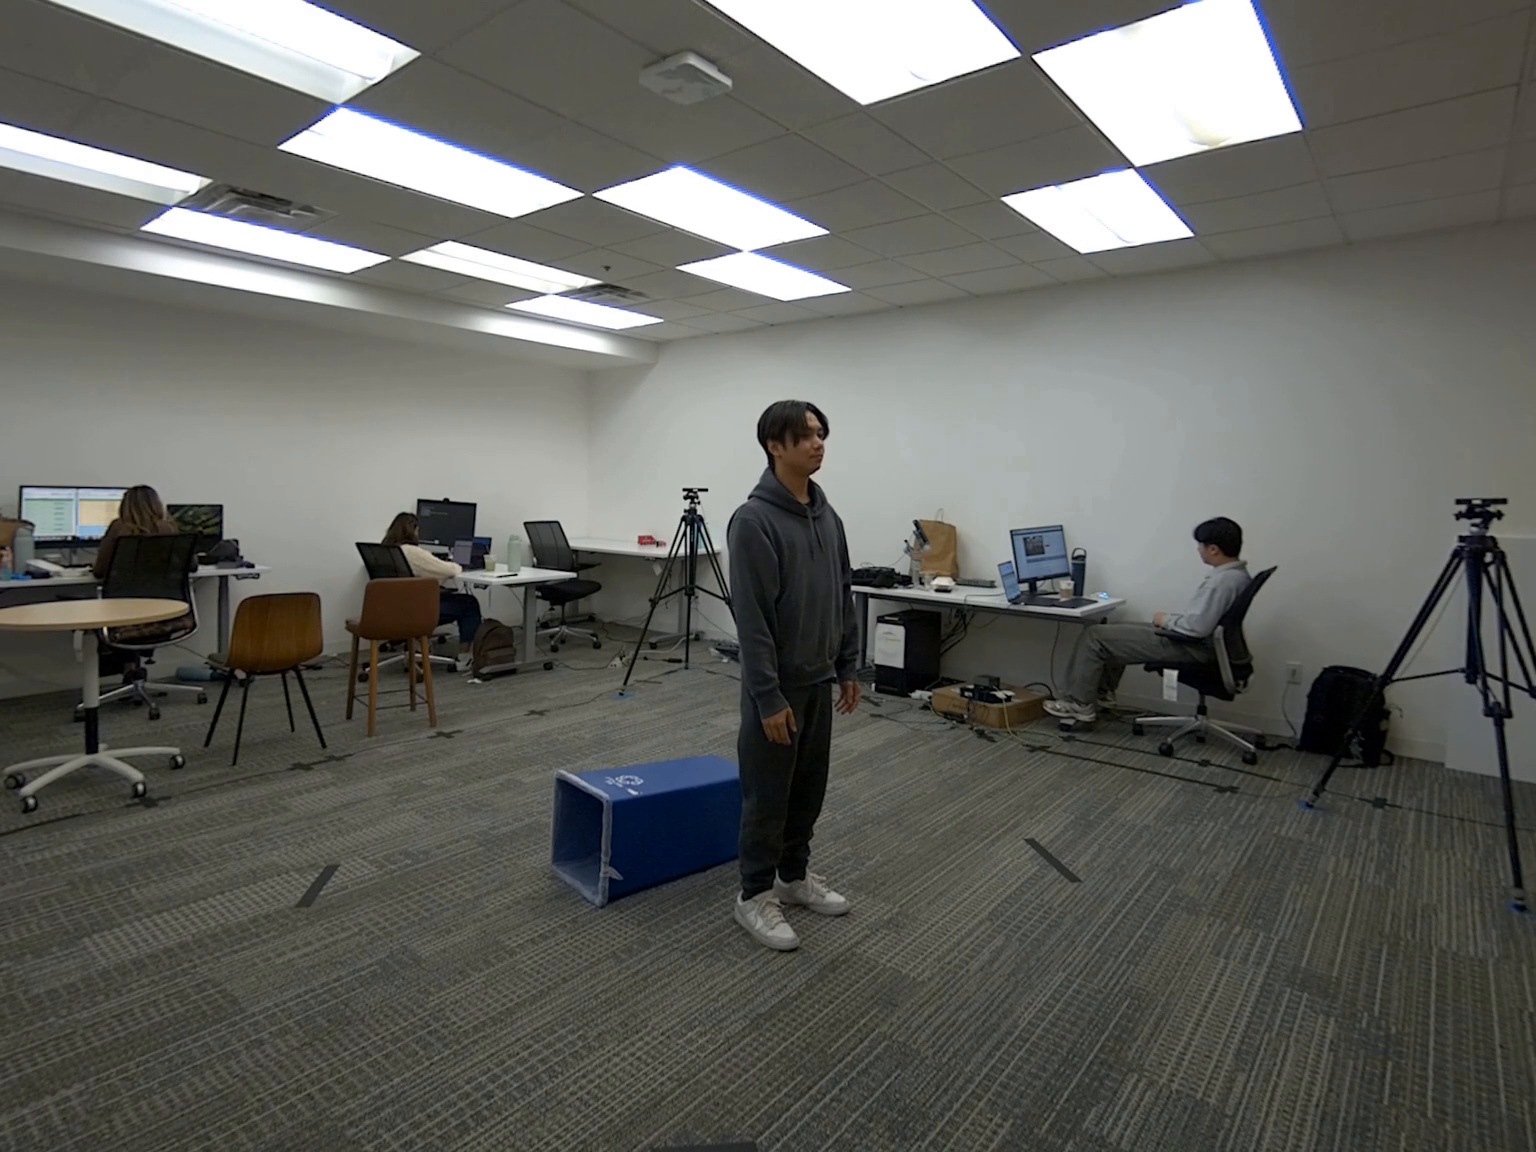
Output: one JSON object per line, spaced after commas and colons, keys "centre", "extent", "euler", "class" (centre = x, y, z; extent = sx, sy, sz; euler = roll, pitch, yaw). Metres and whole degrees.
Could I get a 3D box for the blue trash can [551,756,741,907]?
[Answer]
{"centre": [-0.414, 0.894, 3.154], "extent": [0.691, 0.377, 0.387], "euler": [1, 3, -41], "class": "blue trash can"}
